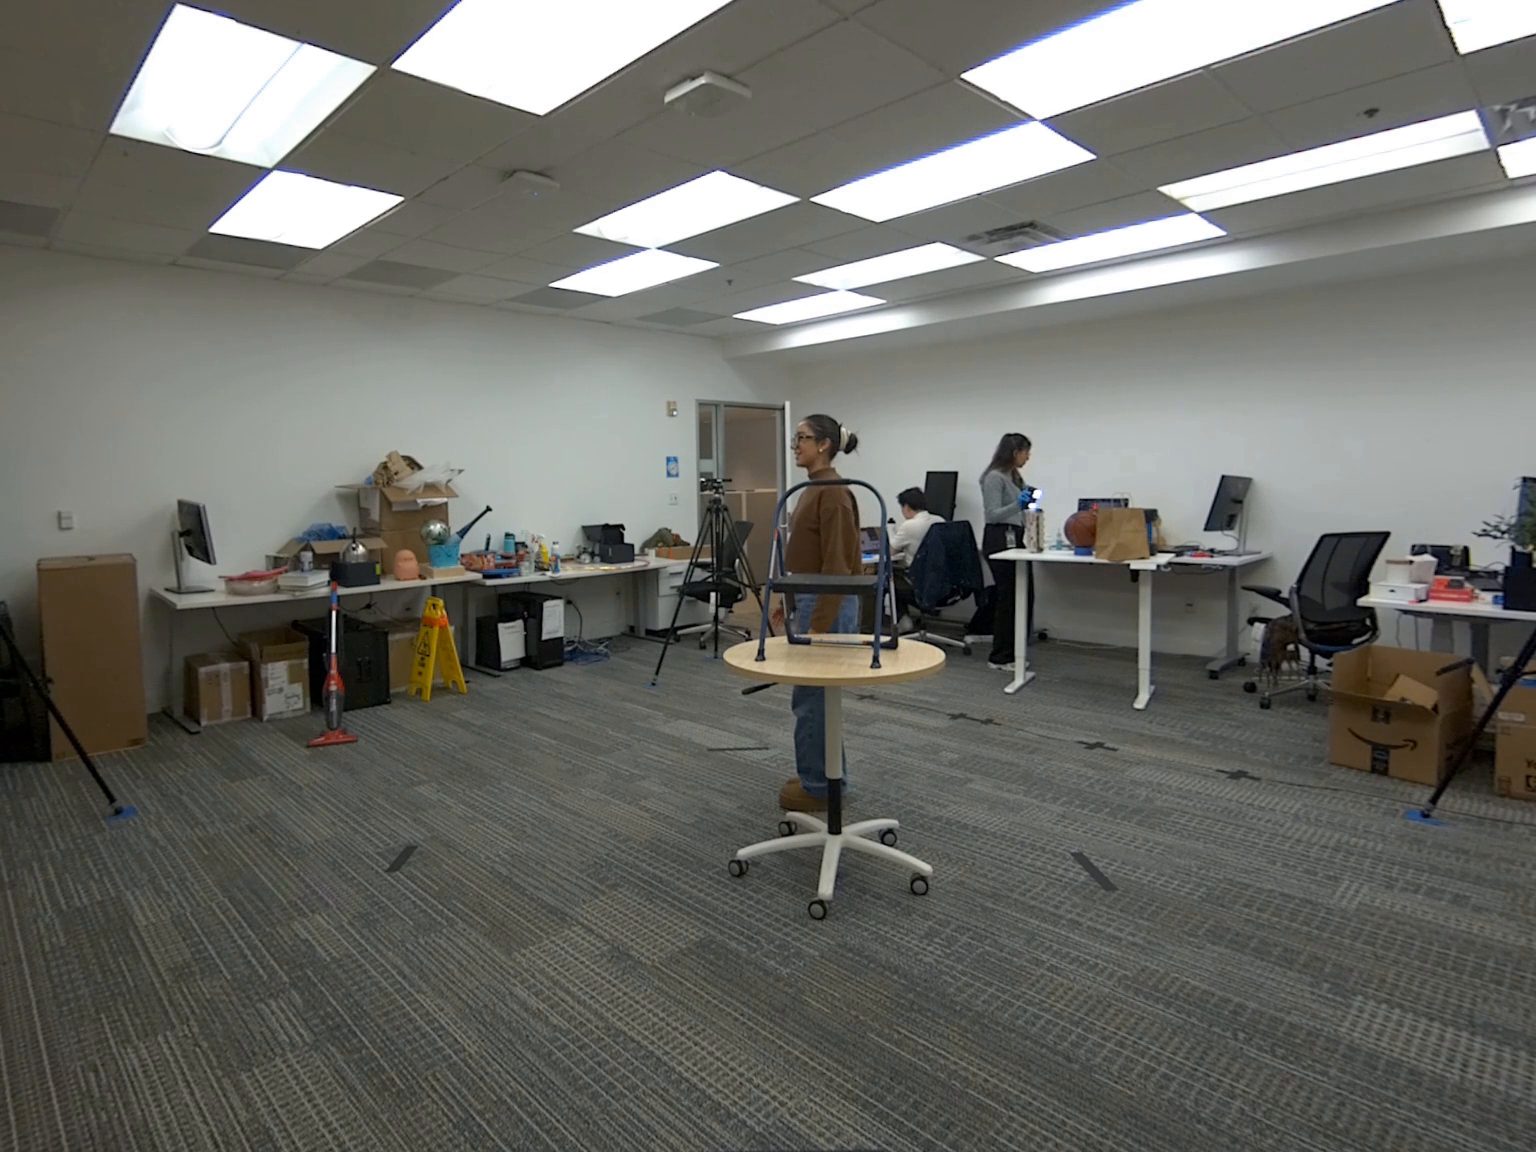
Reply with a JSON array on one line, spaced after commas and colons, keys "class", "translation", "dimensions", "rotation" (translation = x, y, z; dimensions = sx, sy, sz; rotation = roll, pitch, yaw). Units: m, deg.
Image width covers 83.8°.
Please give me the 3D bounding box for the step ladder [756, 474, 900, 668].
[{"class": "step ladder", "translation": [0.209, -0.027, 2.945], "dimensions": [0.439, 0.604, 0.343], "rotation": [0, 4, 22]}]
